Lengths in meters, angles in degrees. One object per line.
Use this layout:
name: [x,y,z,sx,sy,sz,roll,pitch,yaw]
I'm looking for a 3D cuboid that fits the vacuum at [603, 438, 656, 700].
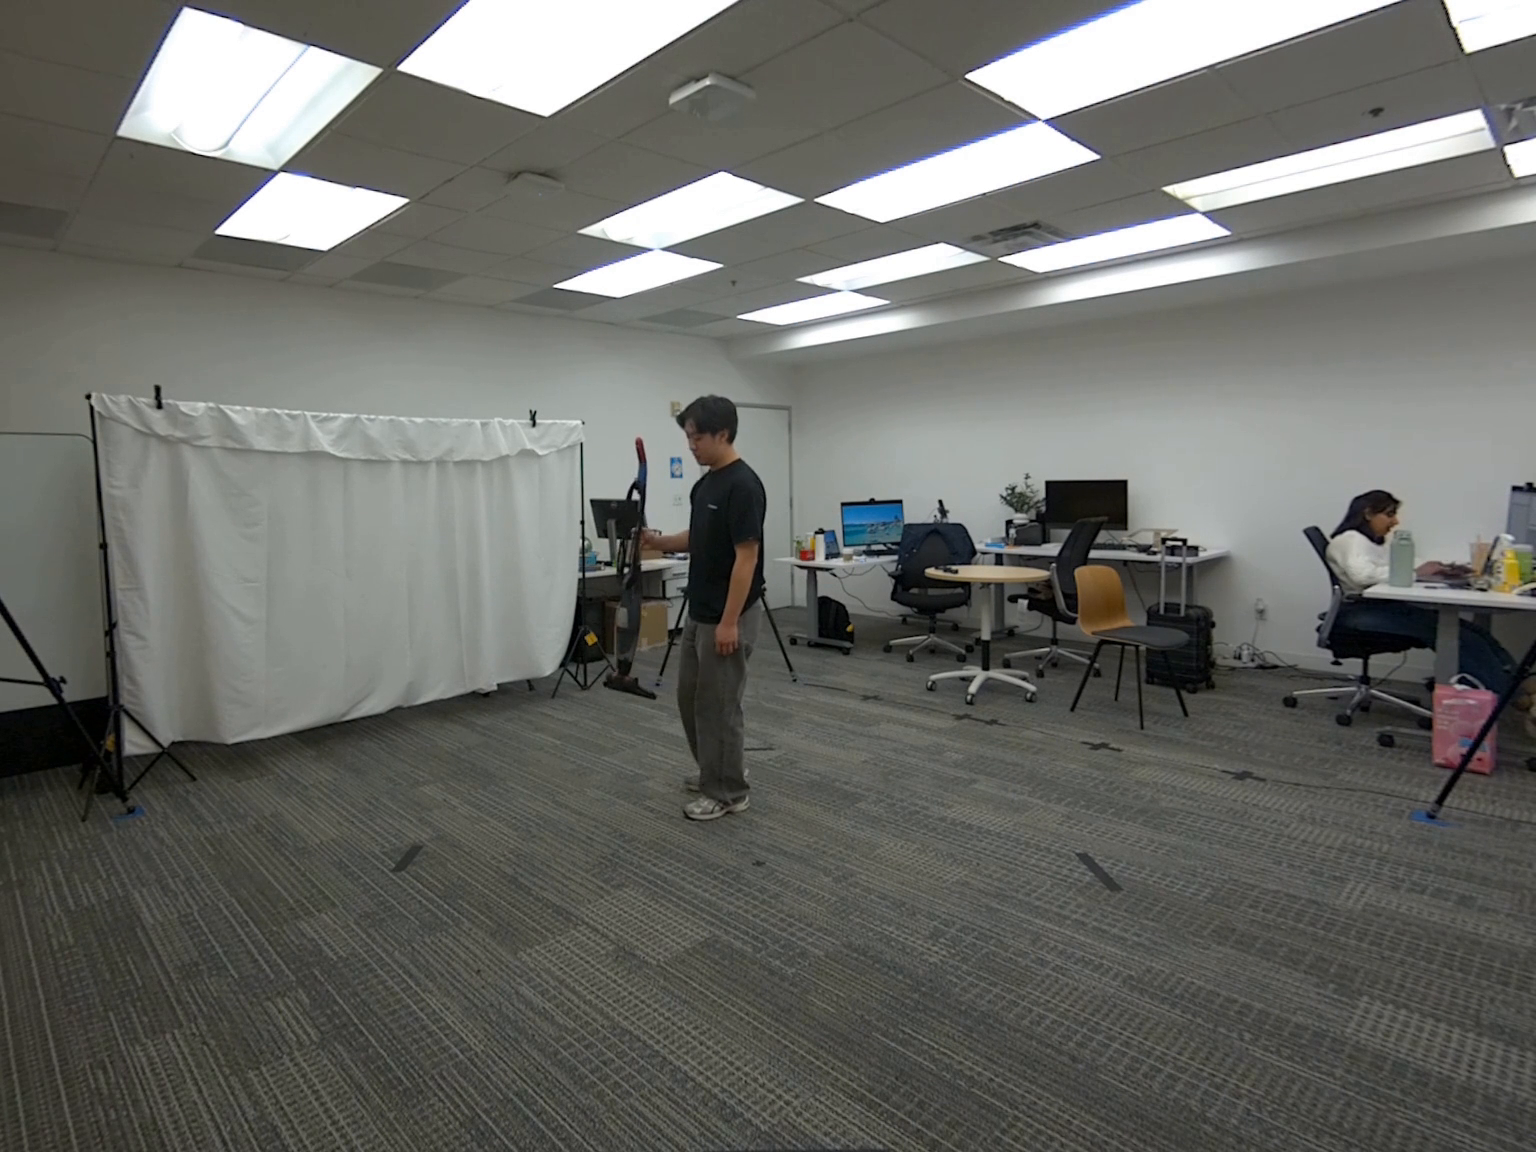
vacuum: [-0.569,-0.037,3.553,0.259,1.039,0.141,9,12,26]
